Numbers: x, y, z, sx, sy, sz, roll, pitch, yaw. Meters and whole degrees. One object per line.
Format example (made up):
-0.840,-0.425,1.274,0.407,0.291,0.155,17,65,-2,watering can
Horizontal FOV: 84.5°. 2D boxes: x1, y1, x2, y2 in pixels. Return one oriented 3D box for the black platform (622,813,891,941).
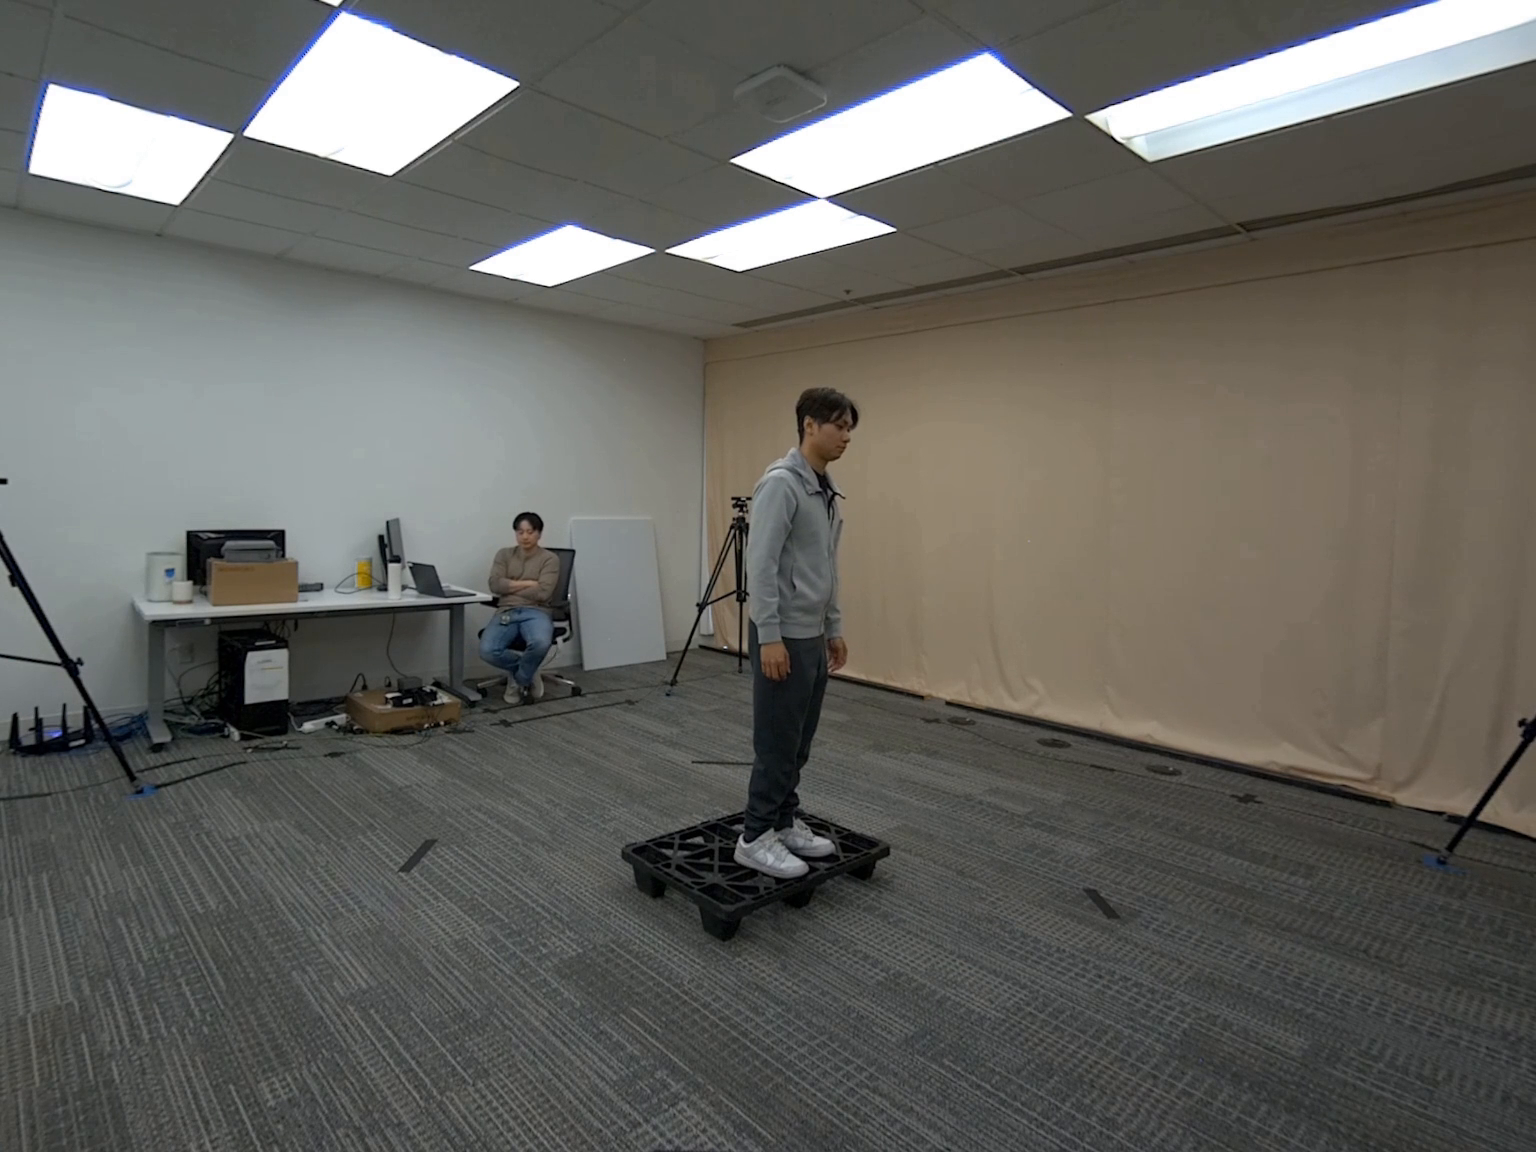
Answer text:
-0.049,1.048,3.049,0.787,0.143,0.620,-3,6,-42,black platform
